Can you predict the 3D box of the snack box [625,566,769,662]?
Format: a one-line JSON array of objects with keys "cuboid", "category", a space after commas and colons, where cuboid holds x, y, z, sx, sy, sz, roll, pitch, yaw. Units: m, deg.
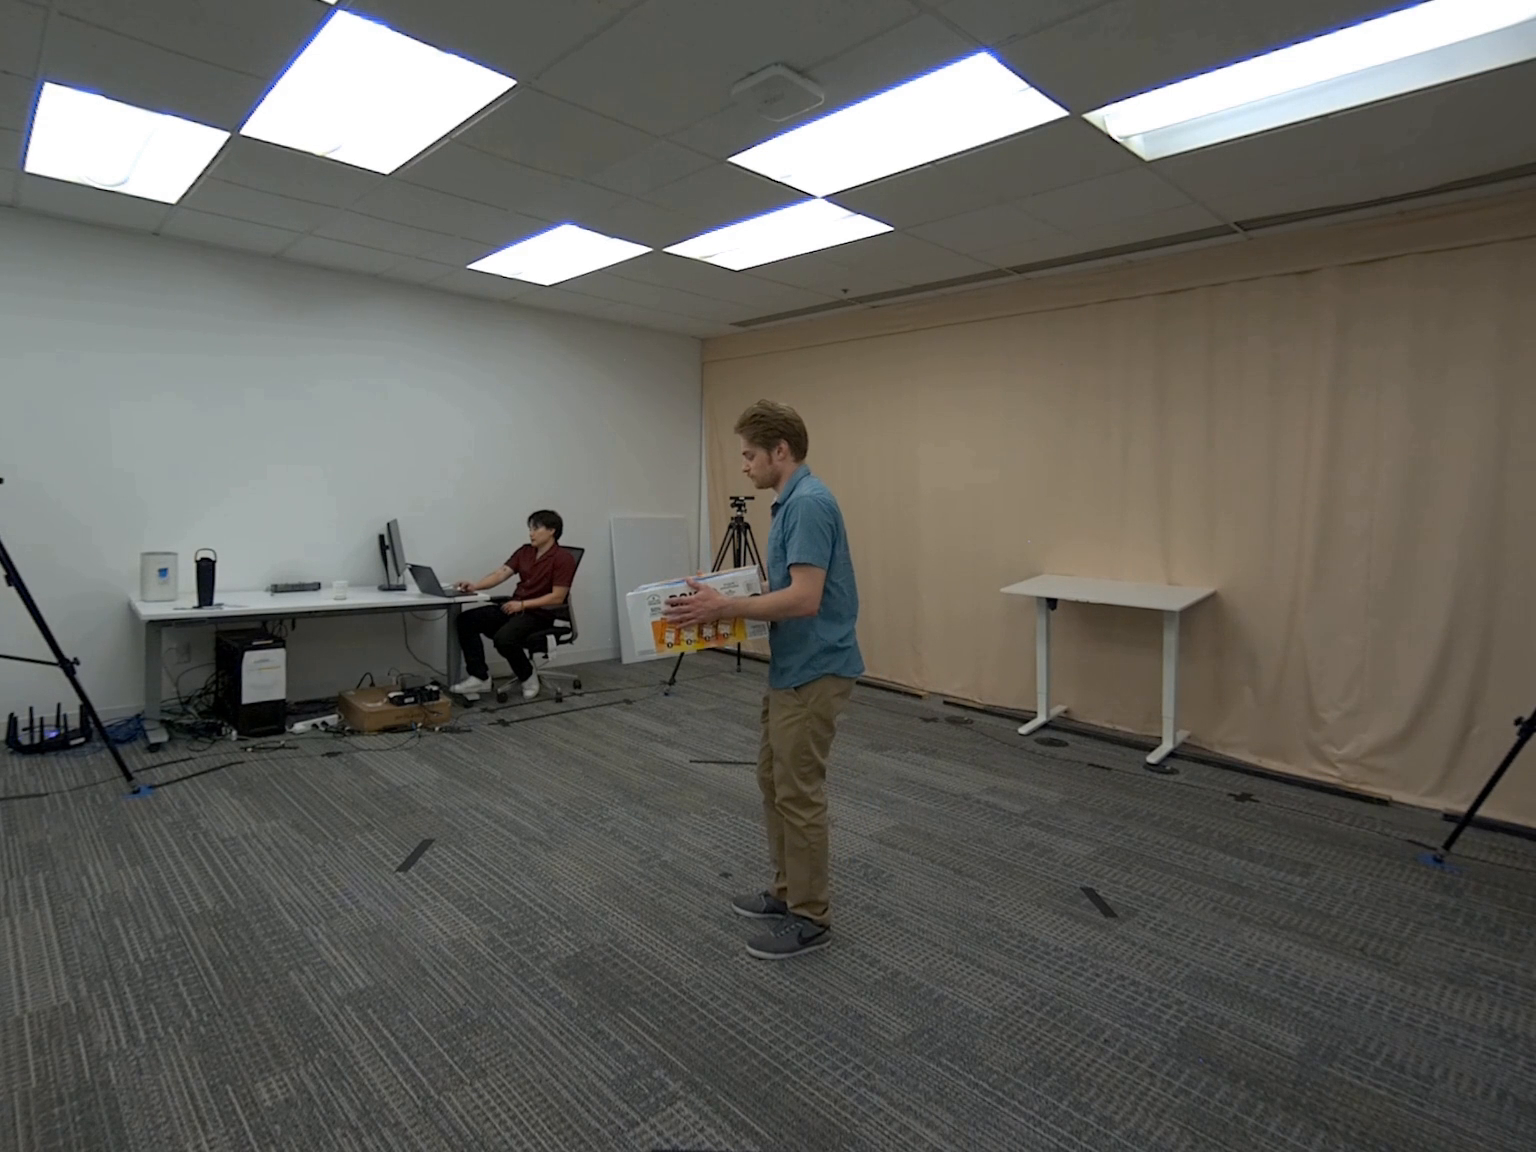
[{"cuboid": [-0.222, 0.103, 2.686, 0.406, 0.205, 0.341, -9, 4, 2], "category": "snack box"}]
